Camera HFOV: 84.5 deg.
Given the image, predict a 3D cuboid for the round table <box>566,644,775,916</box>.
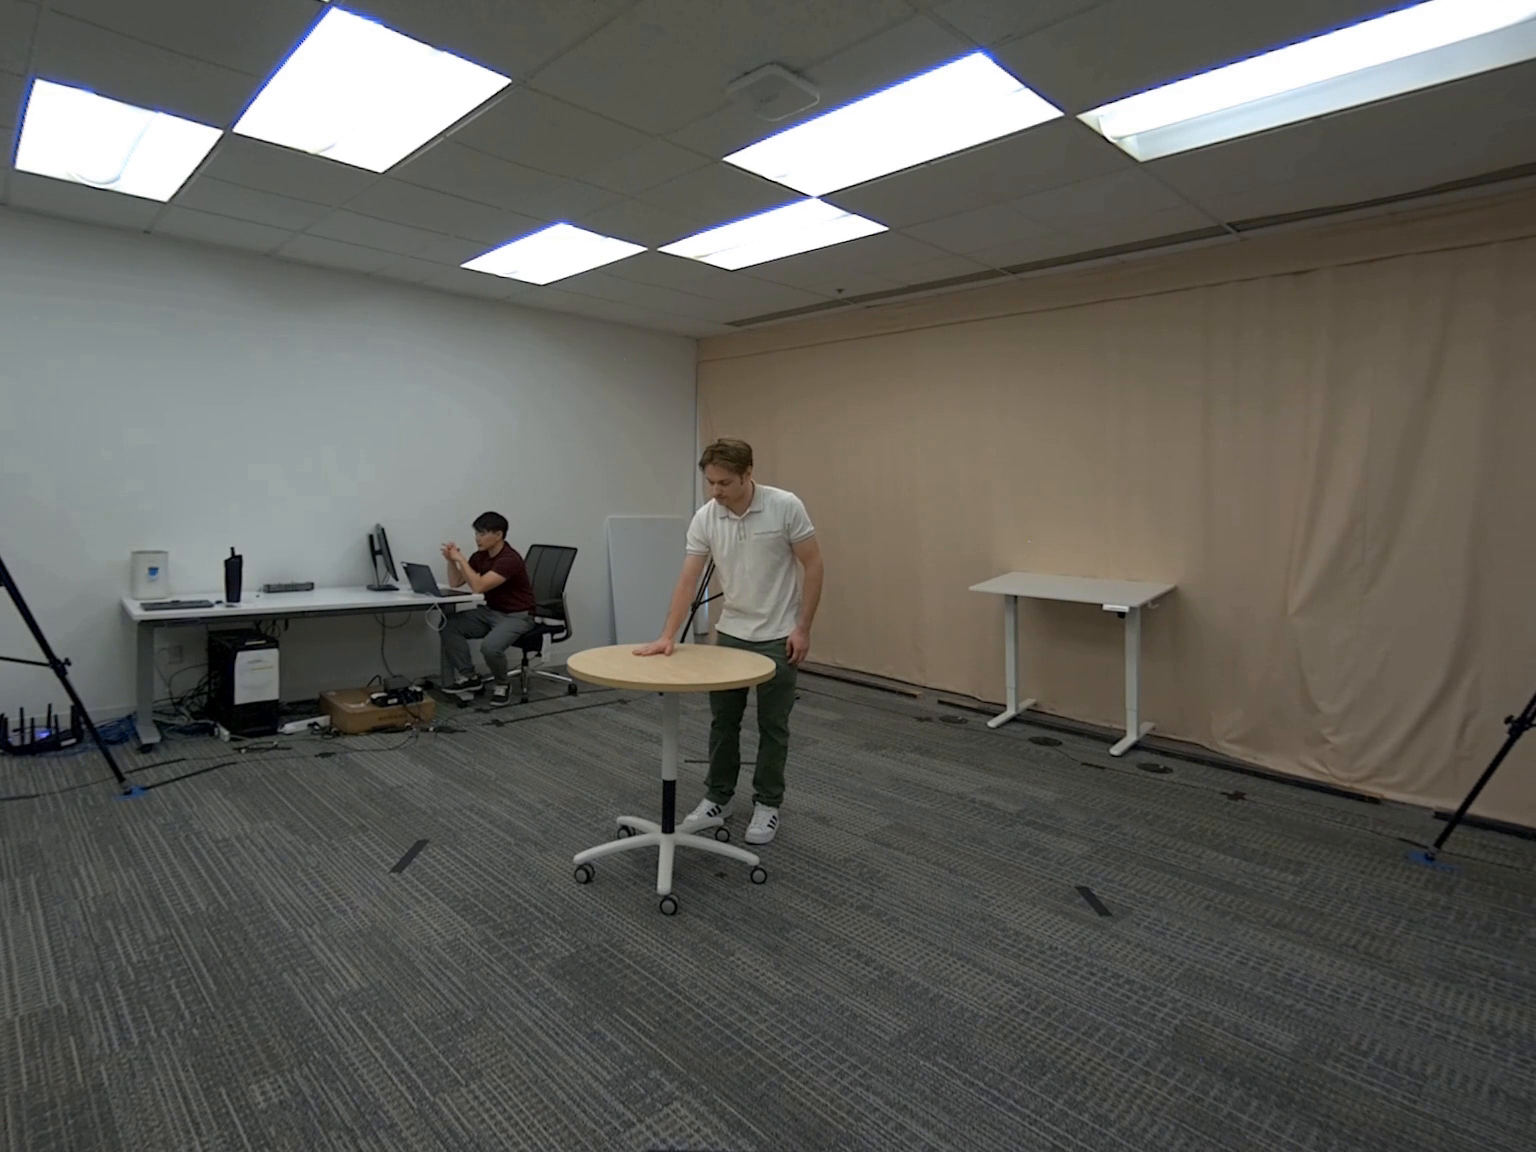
[{"bbox_3d":[-0.386,0.702,3.120,0.784,0.785,0.787,2,4,-1],"label":"round table"}]
